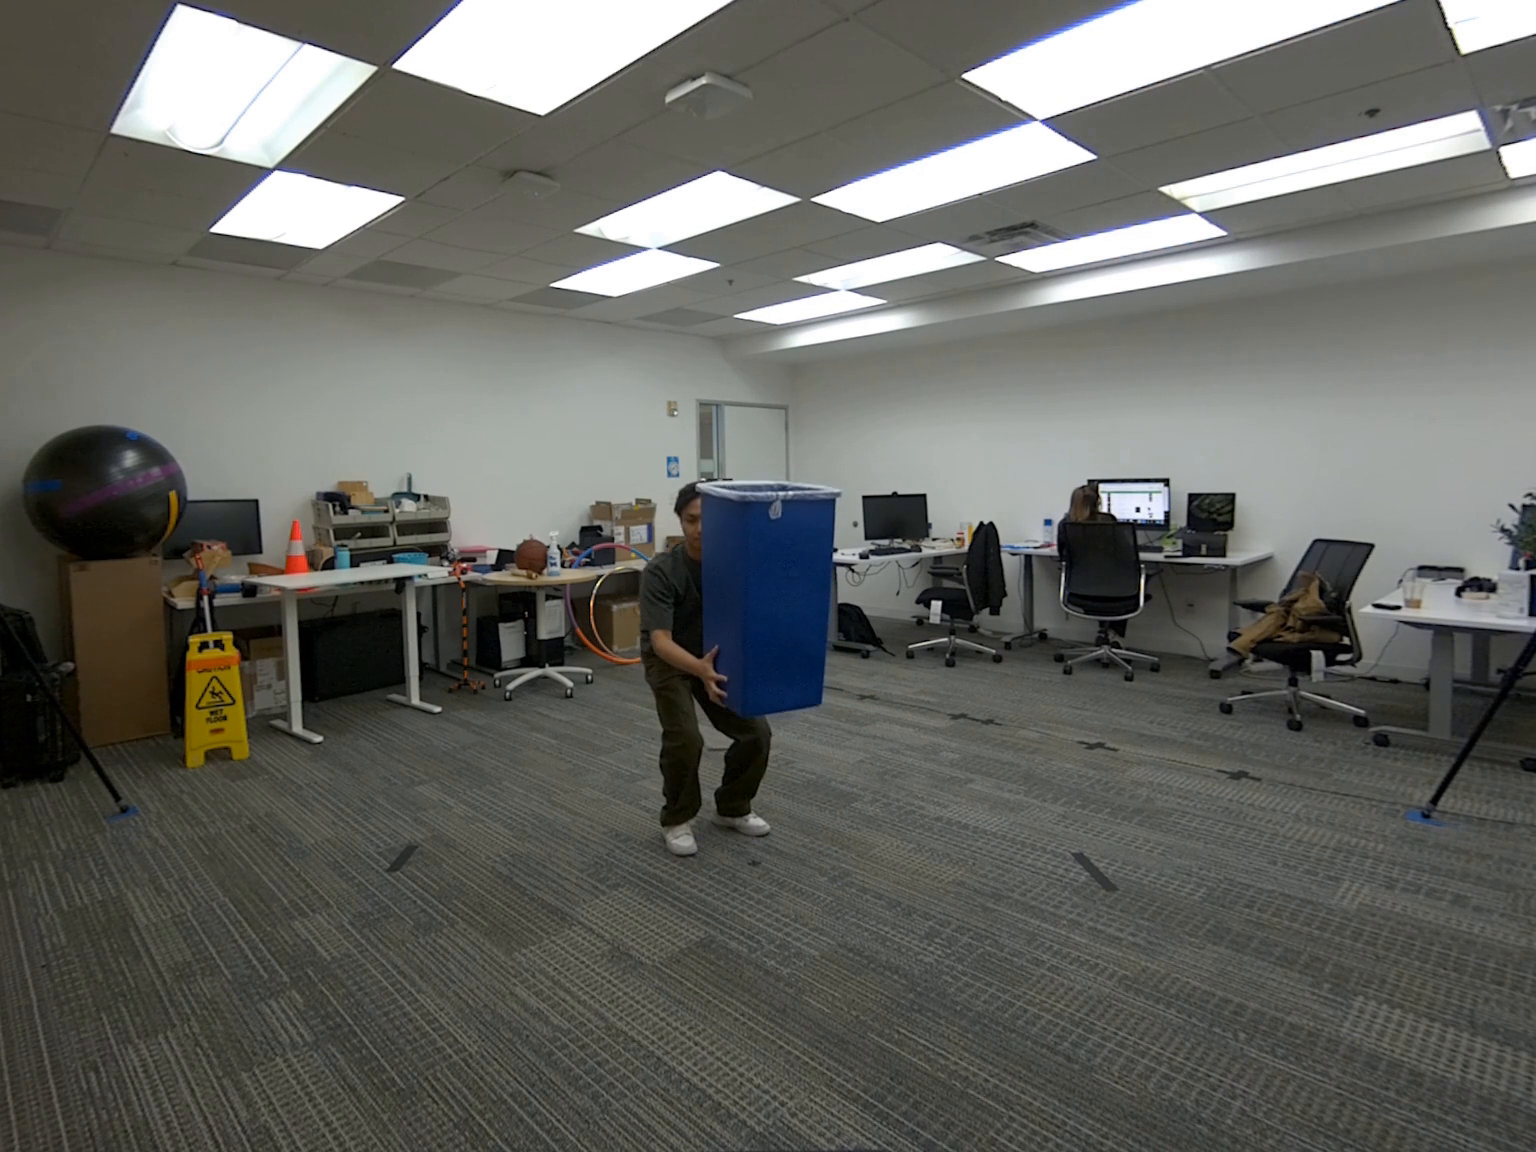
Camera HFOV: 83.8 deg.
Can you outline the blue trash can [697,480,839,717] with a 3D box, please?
[{"bbox_3d":[-0.004,0.055,2.842,0.366,0.708,0.389,-3,10,-28],"label":"blue trash can"}]
